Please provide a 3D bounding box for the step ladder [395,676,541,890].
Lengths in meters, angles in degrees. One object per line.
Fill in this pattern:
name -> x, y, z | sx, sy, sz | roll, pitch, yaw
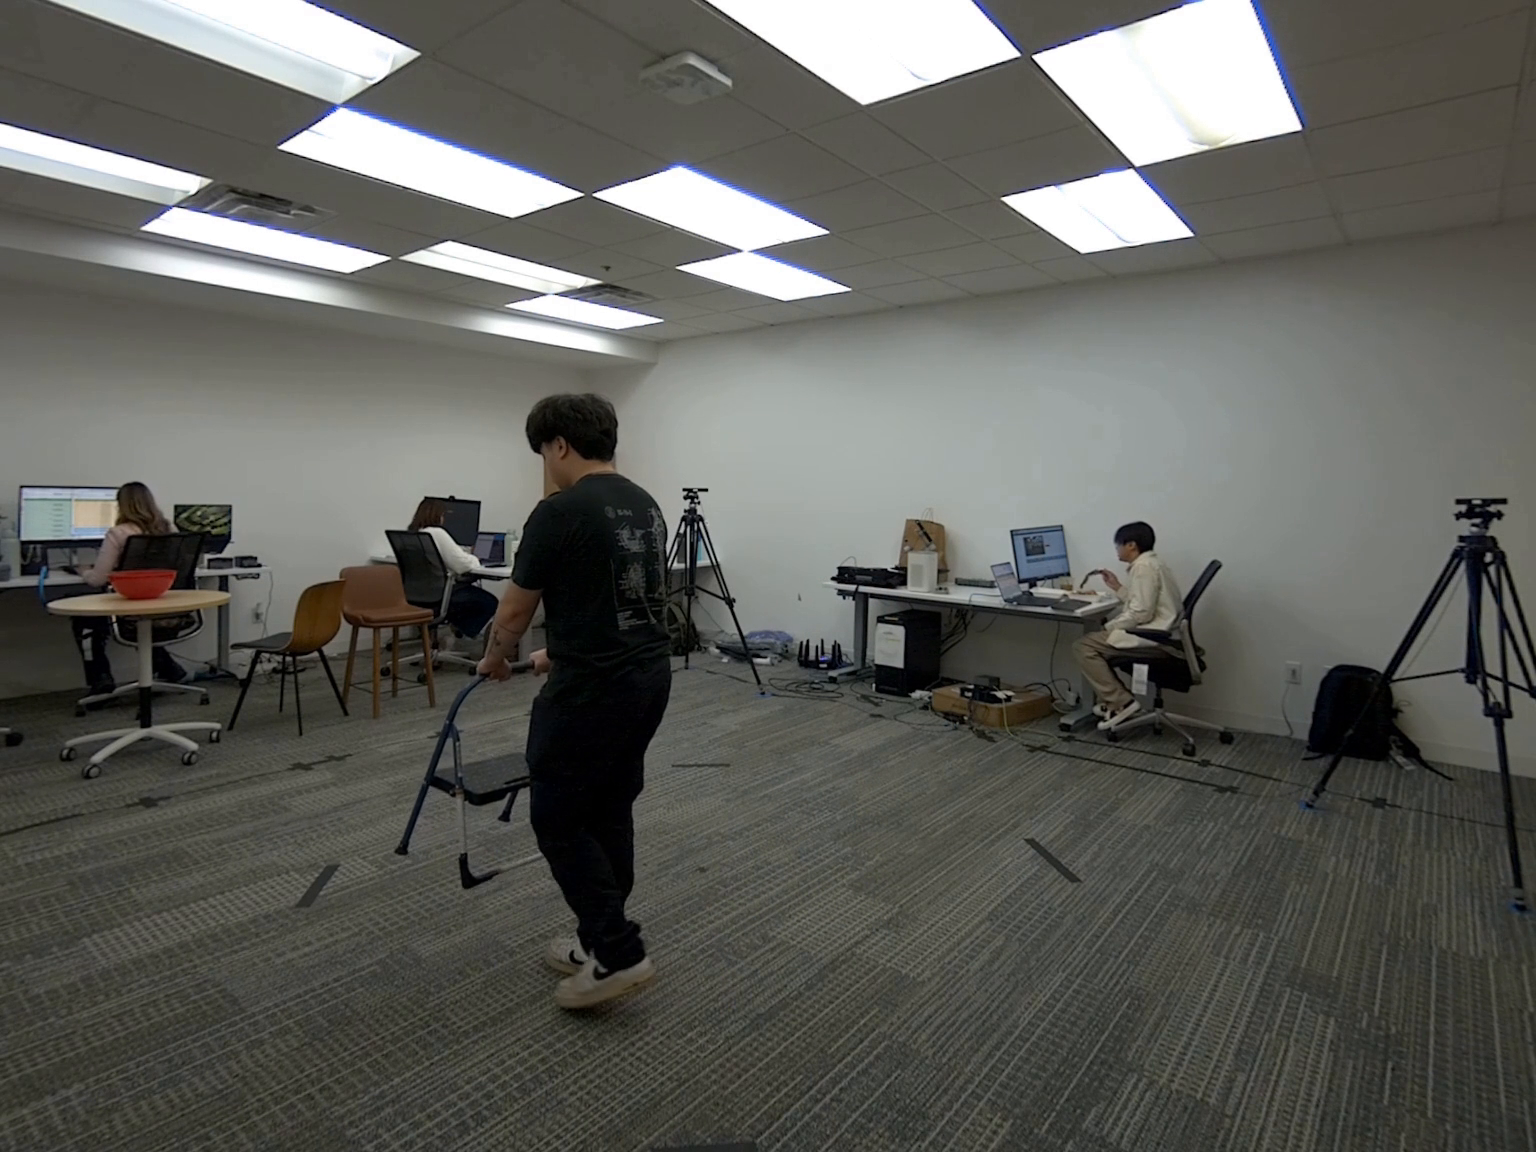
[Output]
step ladder -> -0.856, 0.559, 2.629 | 0.361, 0.605, 0.418 | 7, 3, 33
